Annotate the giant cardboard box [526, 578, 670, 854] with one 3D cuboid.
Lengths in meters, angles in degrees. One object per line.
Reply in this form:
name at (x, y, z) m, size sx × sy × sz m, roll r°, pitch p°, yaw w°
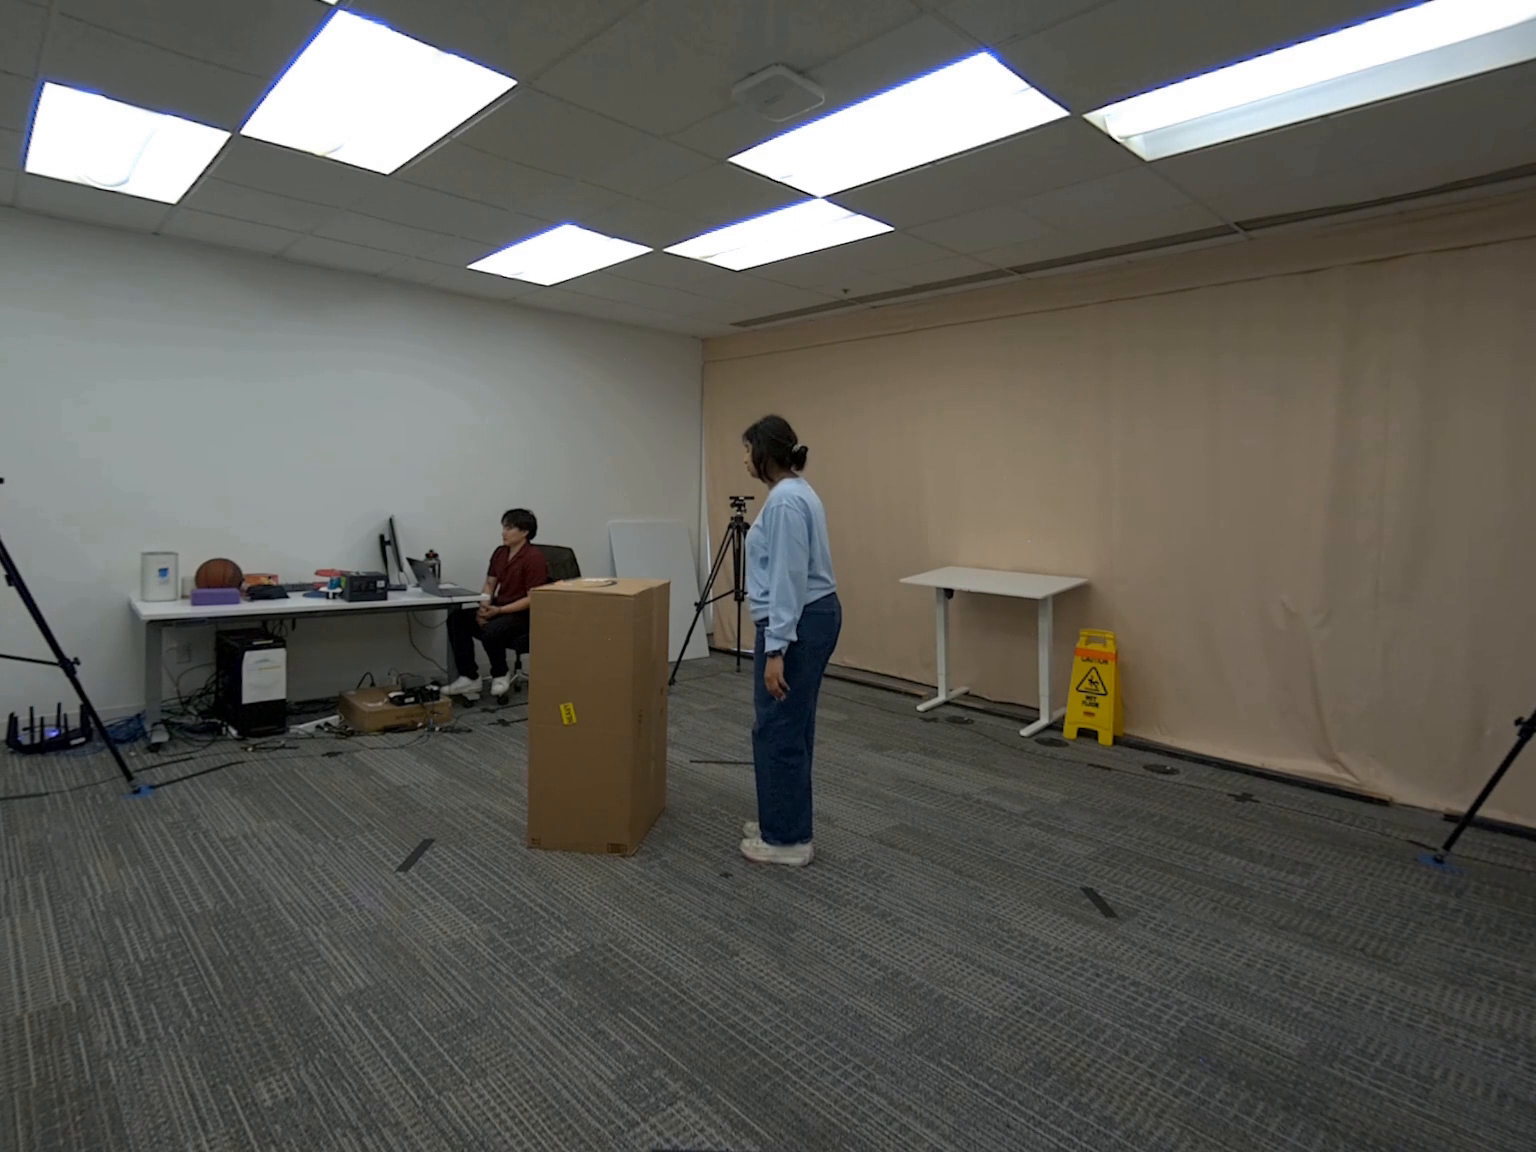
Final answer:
giant cardboard box at (-0.697, 0.542, 3.531) m, size 0.430 × 1.023 × 0.574 m, roll 2°, pitch 3°, yaw 9°
